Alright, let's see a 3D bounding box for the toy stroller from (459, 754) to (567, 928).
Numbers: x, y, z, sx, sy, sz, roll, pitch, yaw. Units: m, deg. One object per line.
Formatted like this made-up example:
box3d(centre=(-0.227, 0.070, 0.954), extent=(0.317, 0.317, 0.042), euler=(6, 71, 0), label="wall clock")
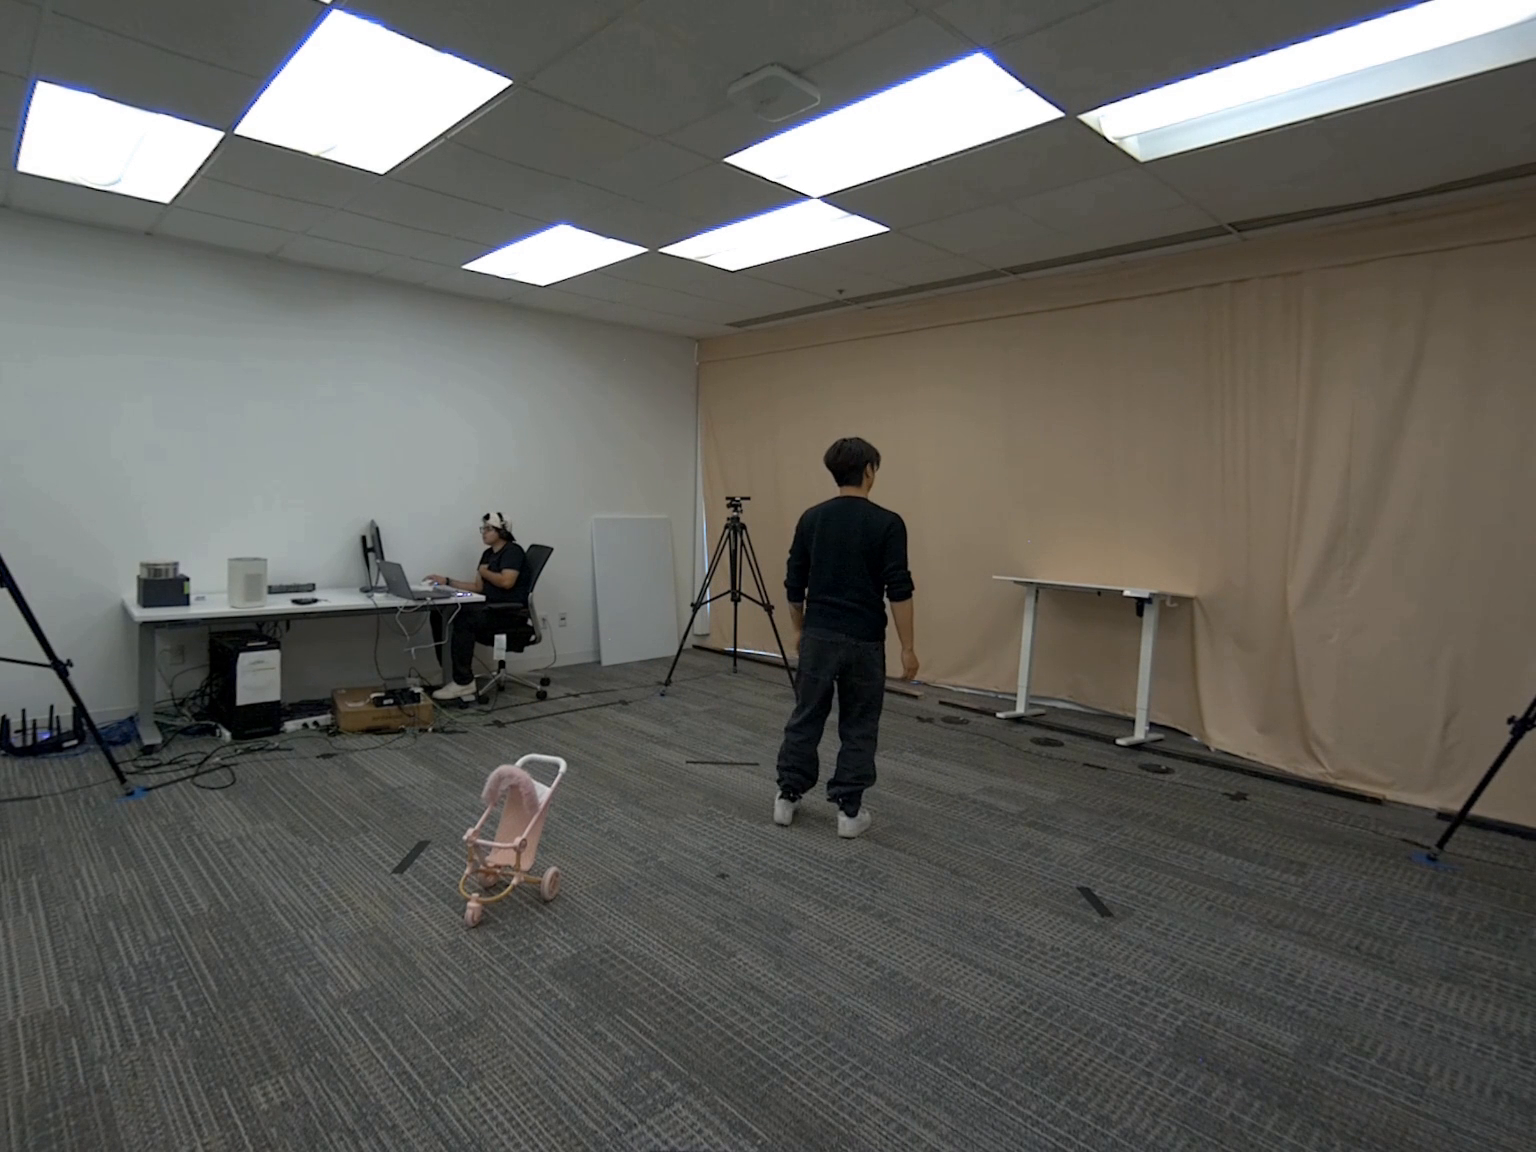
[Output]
box3d(centre=(-0.890, 0.888, 2.863), extent=(0.287, 0.538, 0.333), euler=(2, -11, 24), label="toy stroller")
